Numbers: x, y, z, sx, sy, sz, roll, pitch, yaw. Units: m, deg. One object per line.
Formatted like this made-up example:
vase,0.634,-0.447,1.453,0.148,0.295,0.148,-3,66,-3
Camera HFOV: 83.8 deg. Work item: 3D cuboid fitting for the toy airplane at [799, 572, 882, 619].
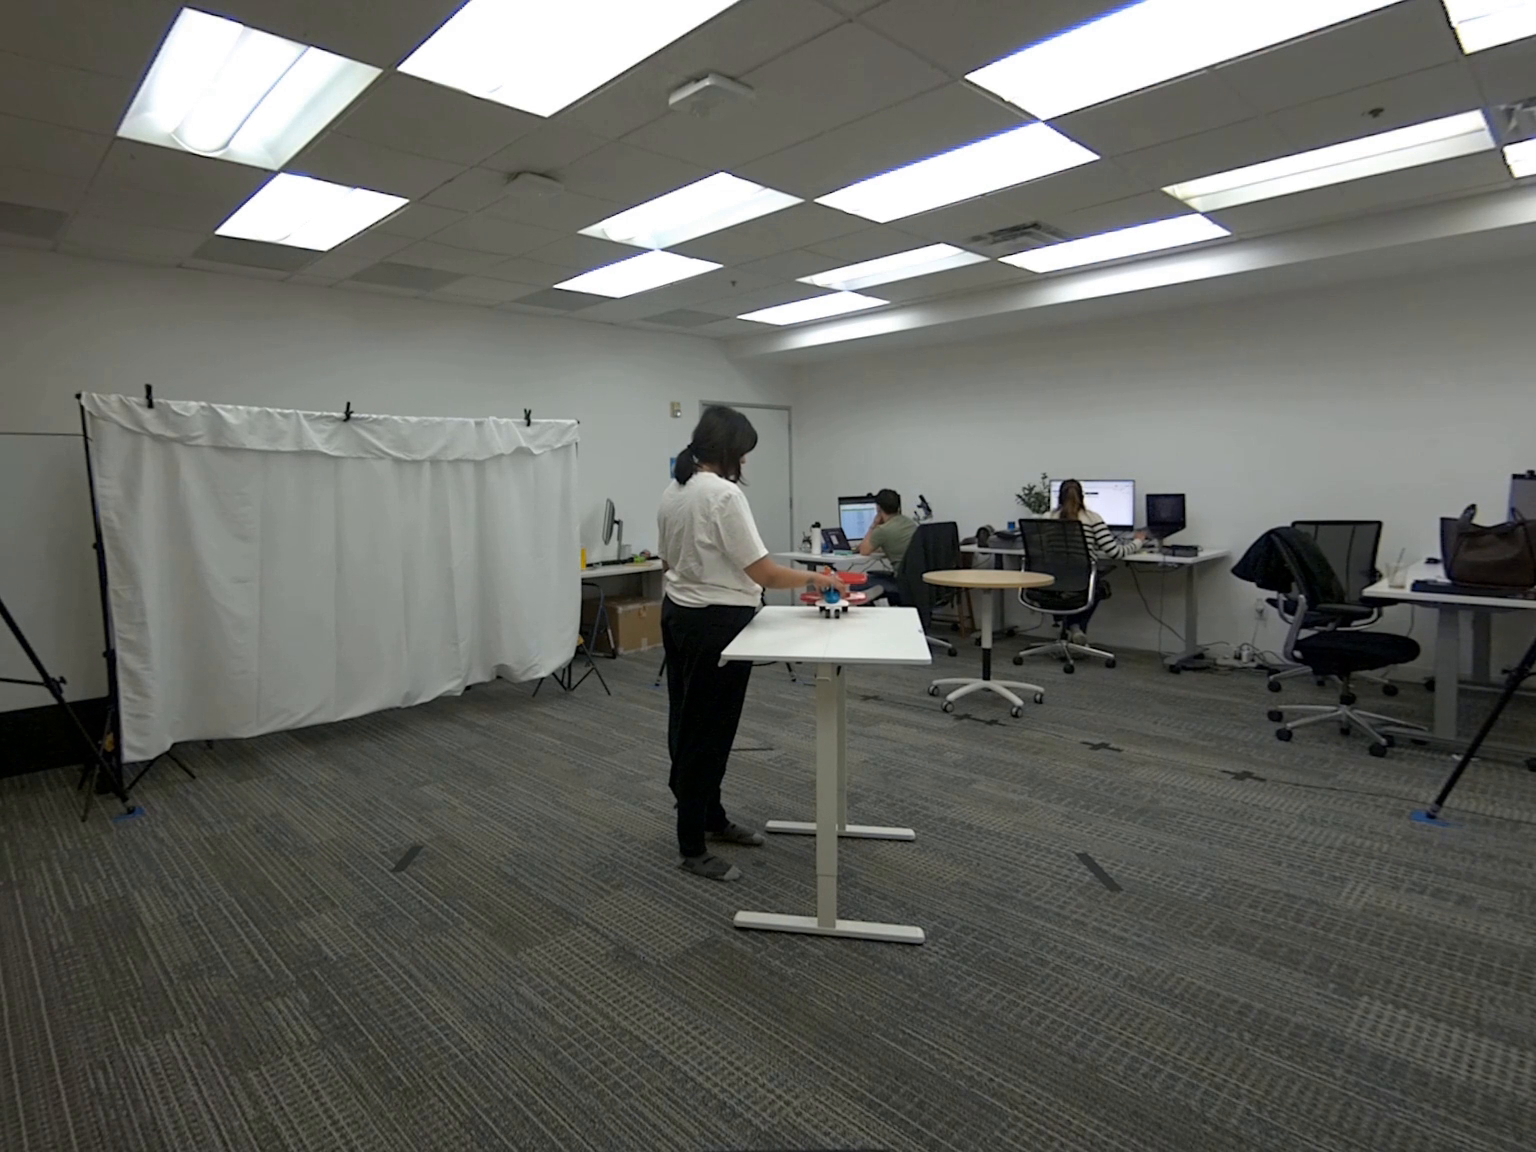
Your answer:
toy airplane,0.263,0.070,3.235,0.246,0.156,0.265,-2,5,-21
